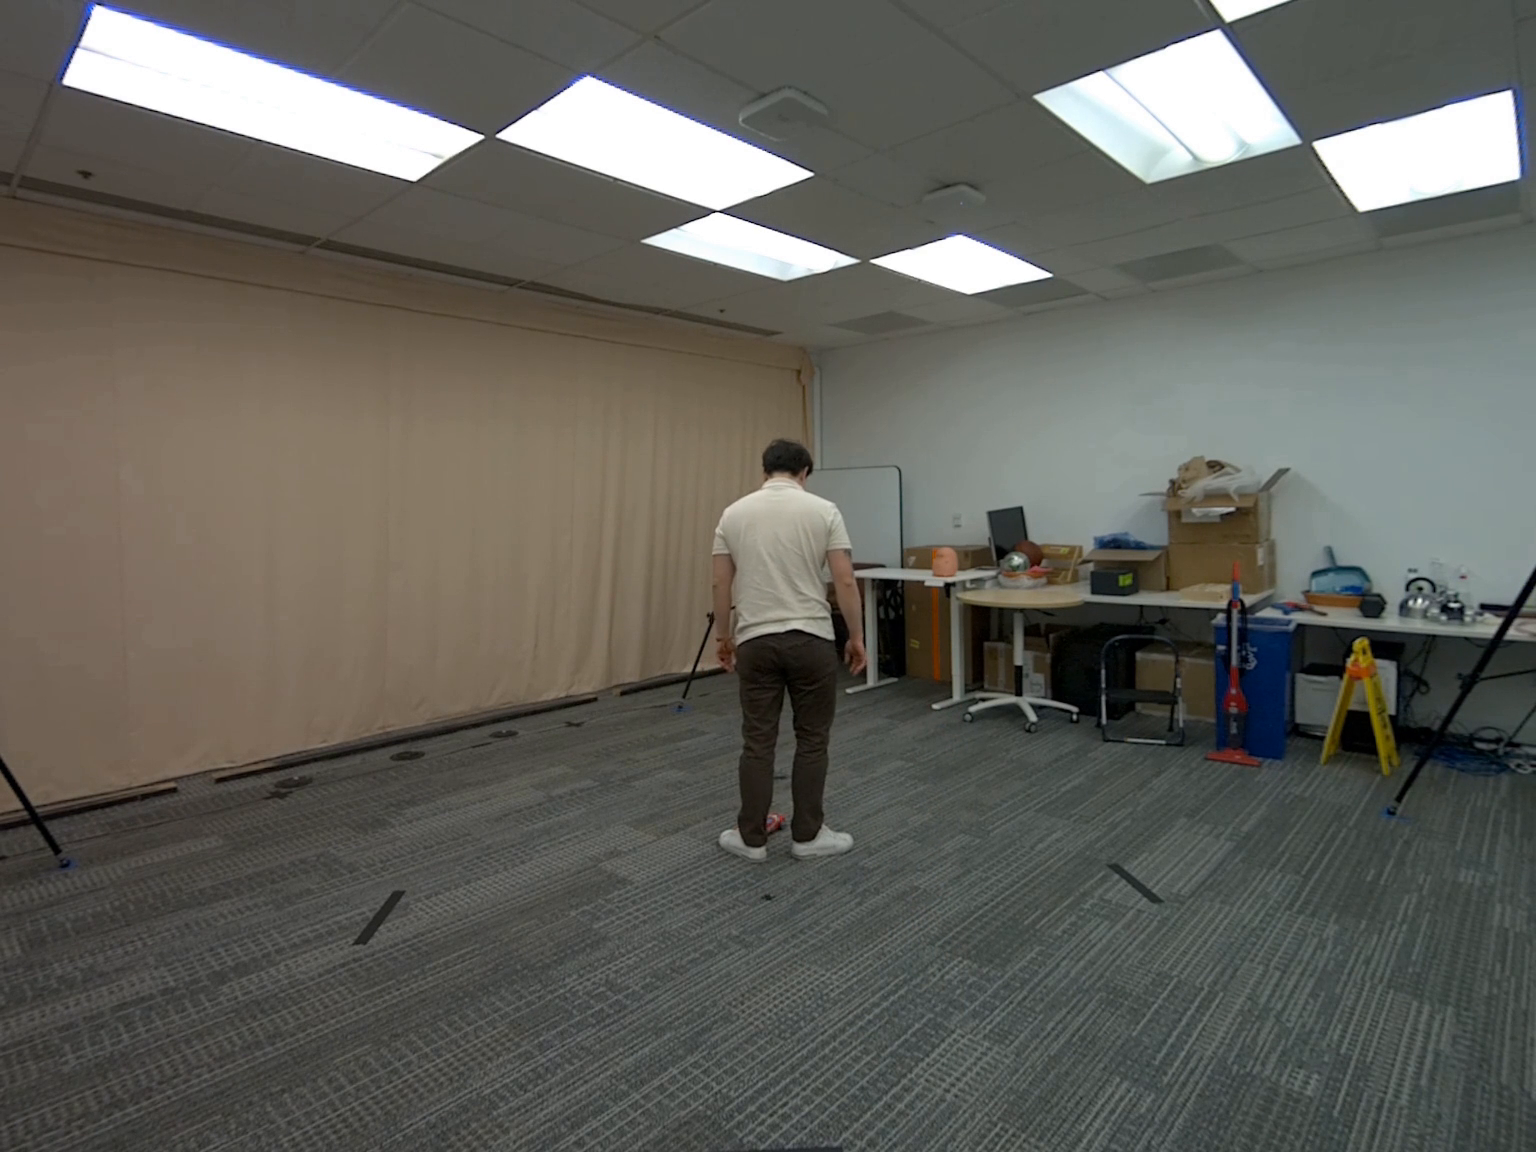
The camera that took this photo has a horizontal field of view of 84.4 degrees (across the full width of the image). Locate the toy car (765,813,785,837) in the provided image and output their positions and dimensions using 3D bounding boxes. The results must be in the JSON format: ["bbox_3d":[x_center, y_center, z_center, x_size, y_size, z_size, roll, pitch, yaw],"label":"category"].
[{"bbox_3d":[-0.038,1.056,3.563,0.134,0.083,0.246,2,-6,38],"label":"toy car"}]
